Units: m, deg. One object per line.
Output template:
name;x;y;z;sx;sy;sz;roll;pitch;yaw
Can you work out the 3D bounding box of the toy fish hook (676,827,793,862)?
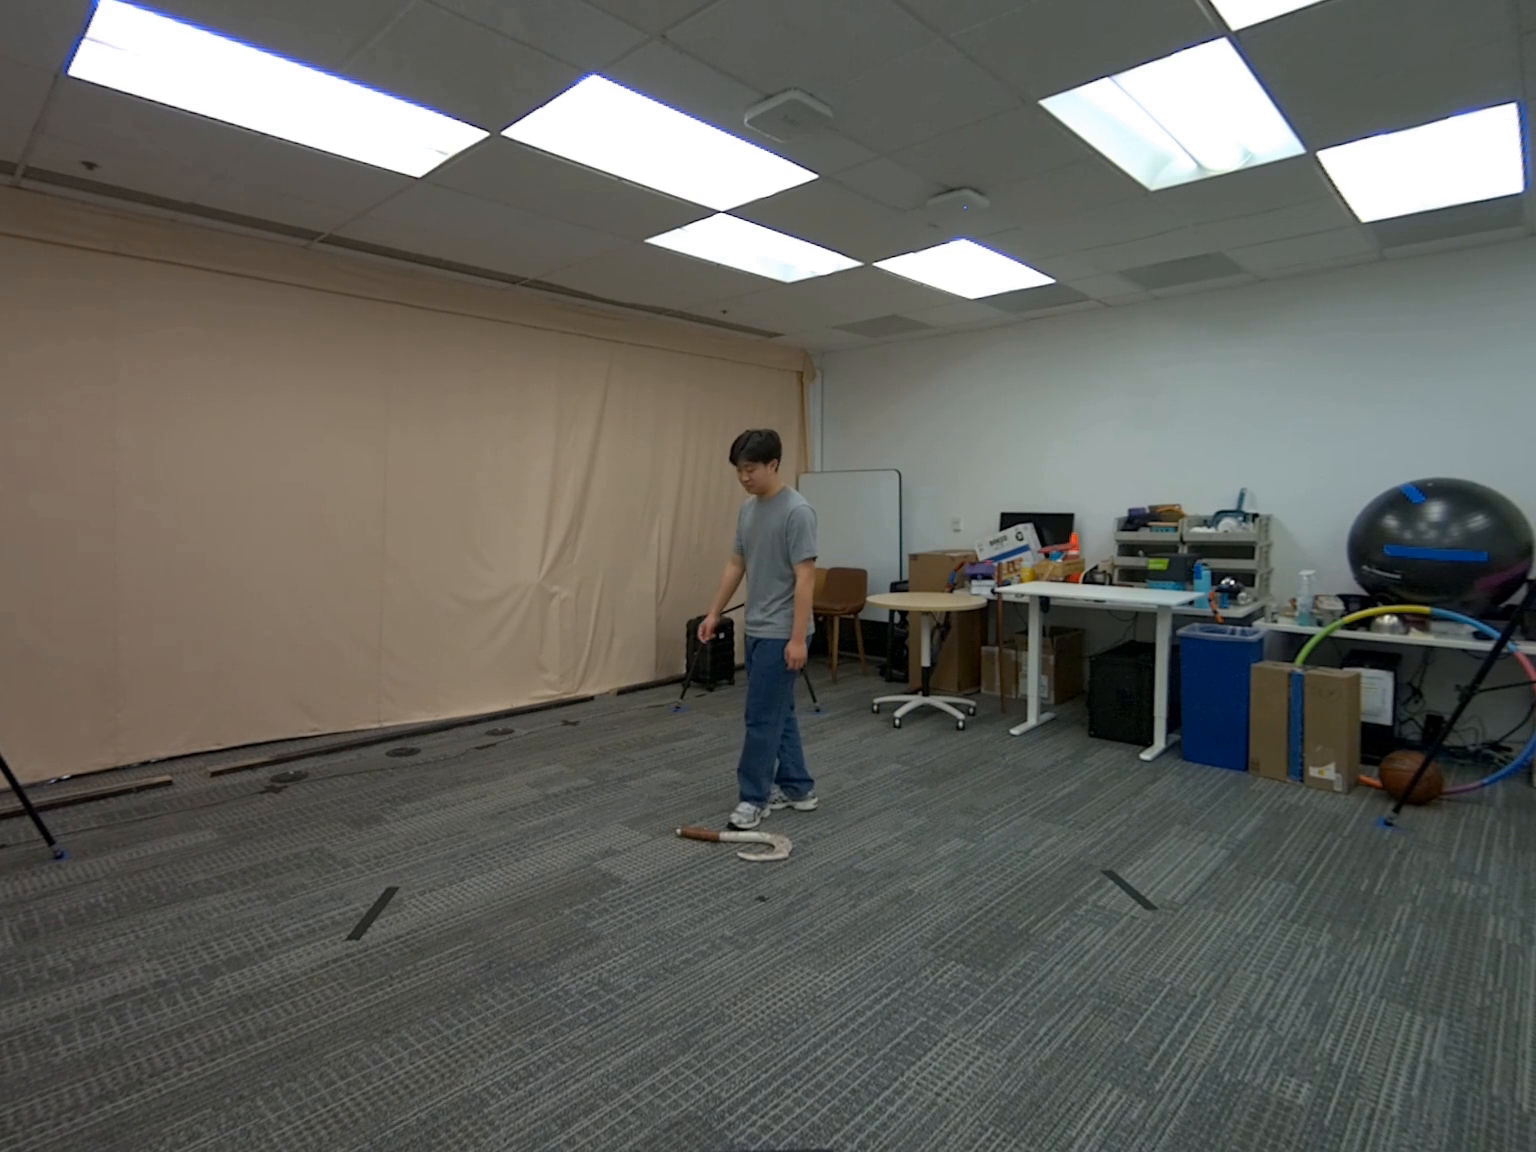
toy fish hook;-0.157;1.085;3.425;0.516;0.048;0.221;0;4;17
